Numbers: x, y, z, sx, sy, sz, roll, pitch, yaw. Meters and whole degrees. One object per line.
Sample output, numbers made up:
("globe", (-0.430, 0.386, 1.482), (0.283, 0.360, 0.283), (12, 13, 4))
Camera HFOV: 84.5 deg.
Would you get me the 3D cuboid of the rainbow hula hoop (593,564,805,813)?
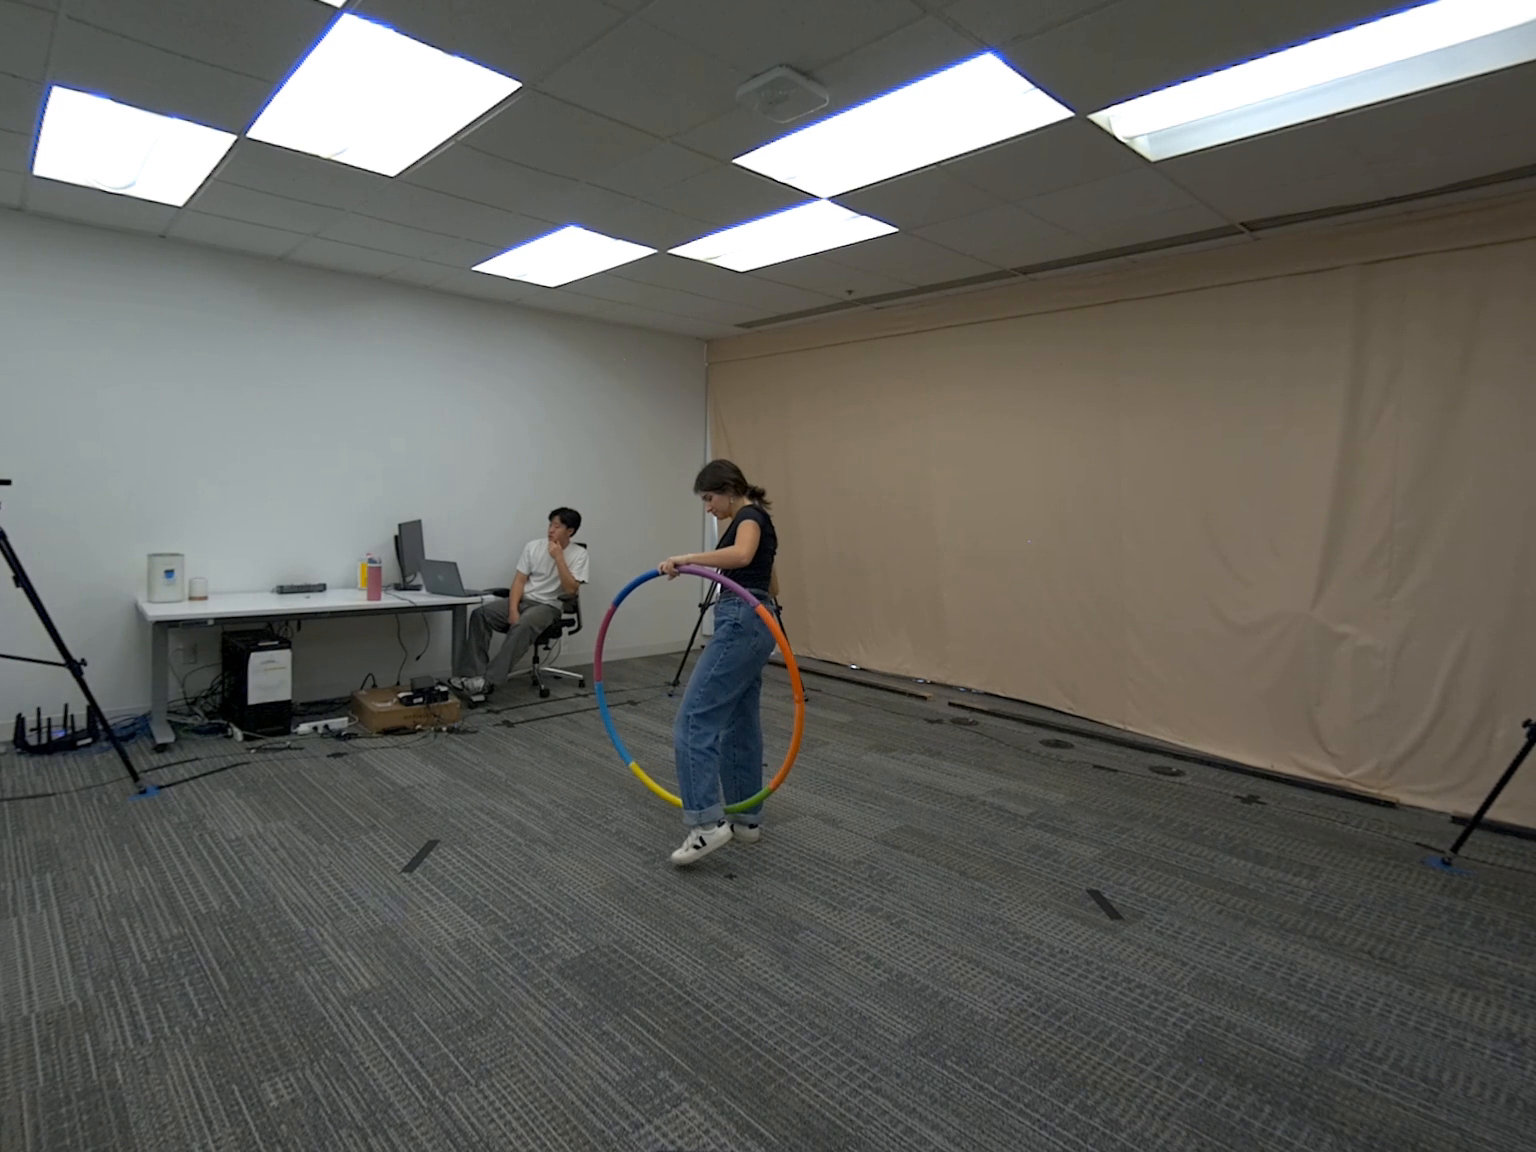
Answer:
("rainbow hula hoop", (-0.301, 0.446, 3.251), (1.001, 0.972, 0.035), (4, 10, 32))
